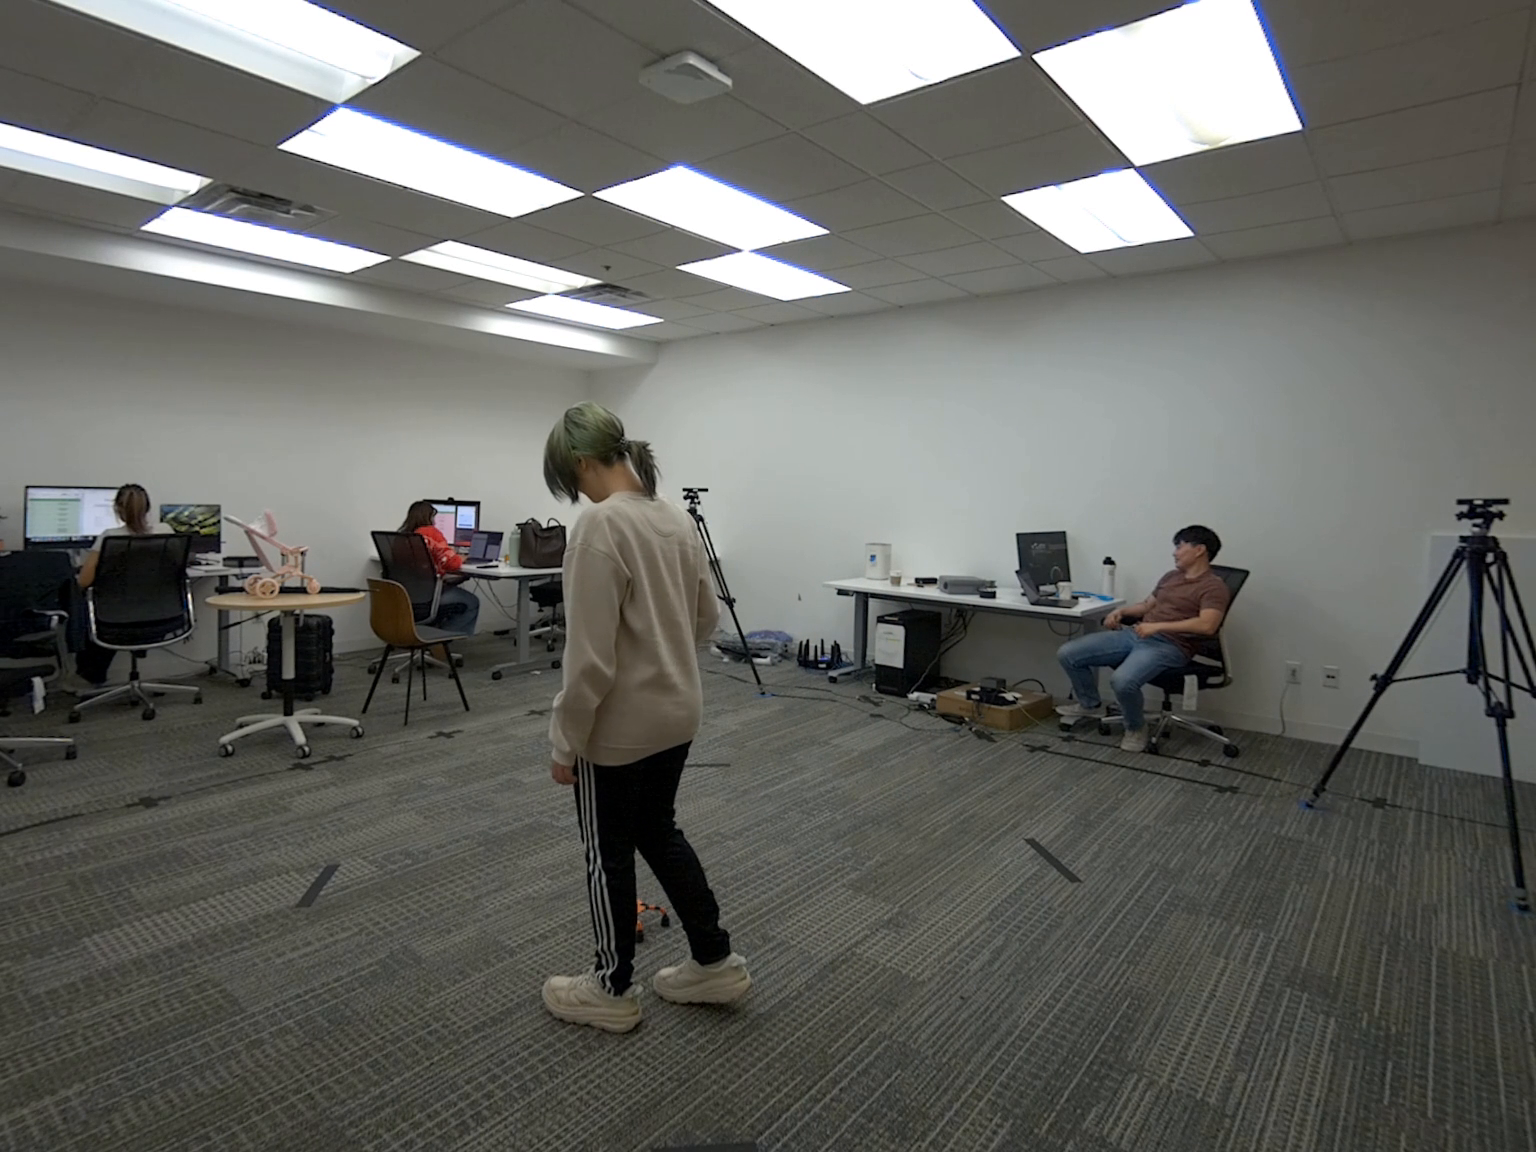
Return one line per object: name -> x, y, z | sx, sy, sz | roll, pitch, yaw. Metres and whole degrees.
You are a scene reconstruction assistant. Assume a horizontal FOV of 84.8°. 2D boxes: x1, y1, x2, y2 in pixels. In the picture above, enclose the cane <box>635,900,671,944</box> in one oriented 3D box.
cane -> -0.408, 0.647, 2.667 | 0.213, 0.904, 0.147 | 6, 5, 32
